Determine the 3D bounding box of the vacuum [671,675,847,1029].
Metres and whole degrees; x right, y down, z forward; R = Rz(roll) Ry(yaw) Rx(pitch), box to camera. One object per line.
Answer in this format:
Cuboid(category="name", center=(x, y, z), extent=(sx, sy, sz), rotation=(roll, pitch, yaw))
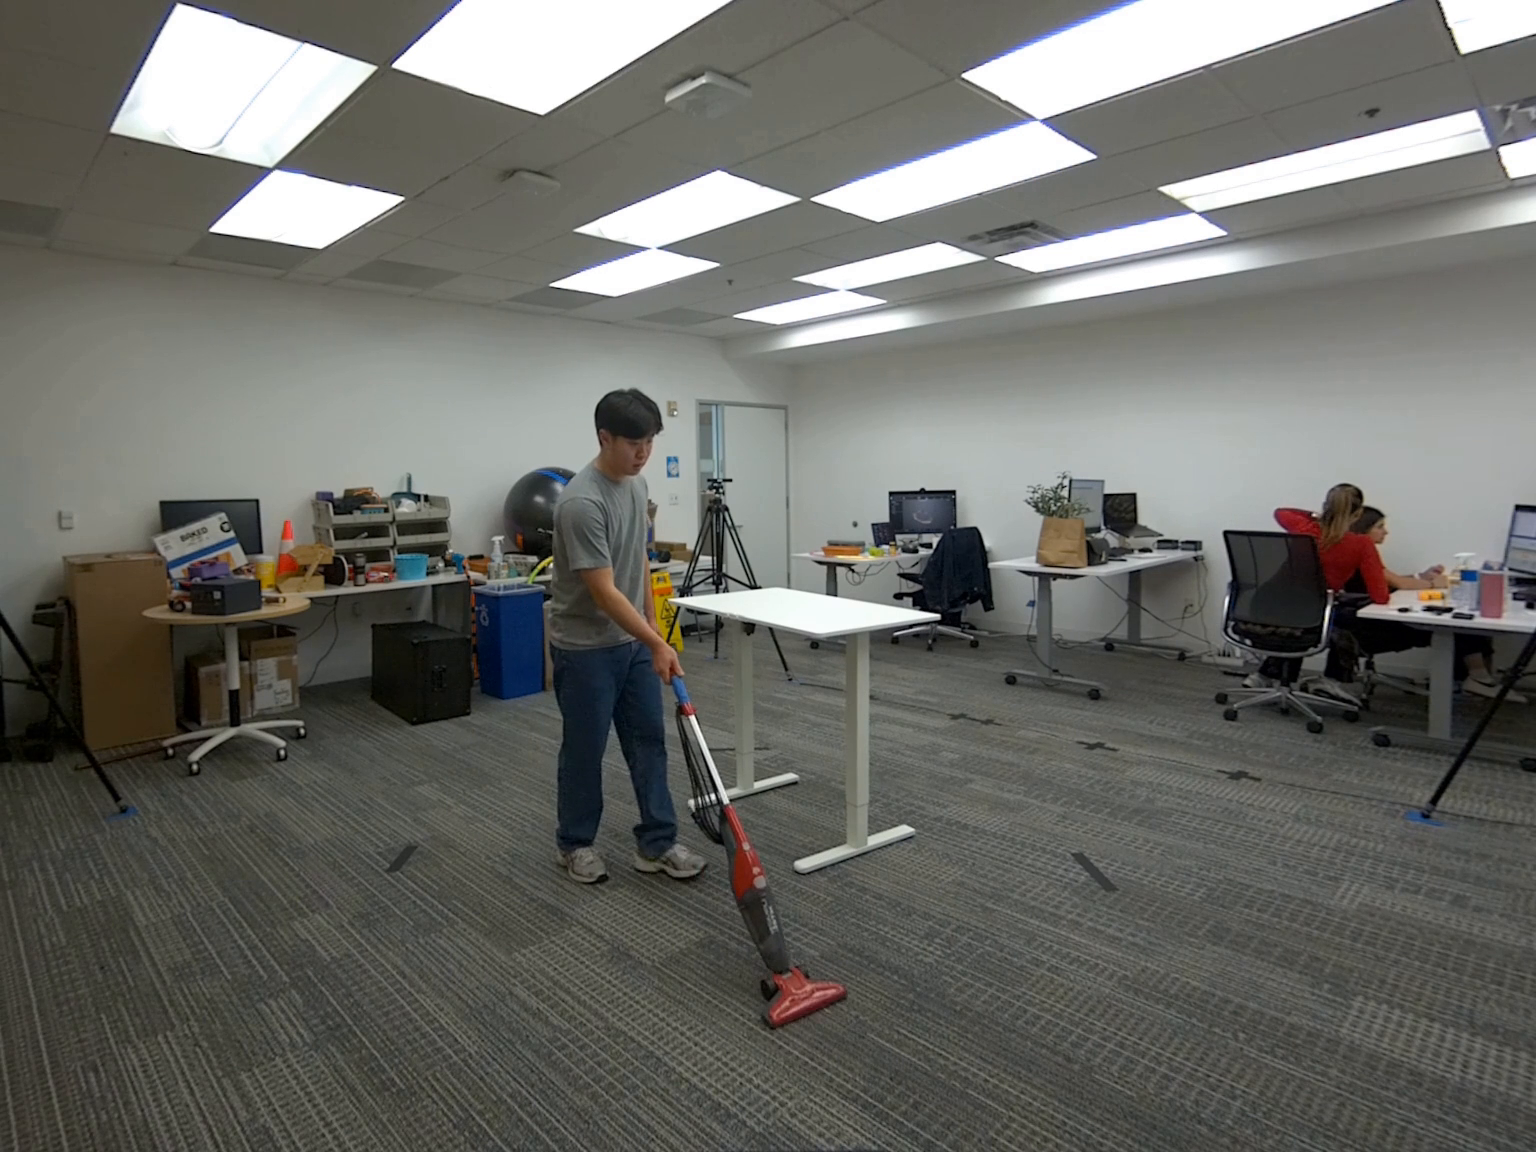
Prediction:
Cuboid(category="vacuum", center=(-0.119, 0.720, 2.544), extent=(0.246, 1.084, 0.143), rotation=(-5, -37, -34))
